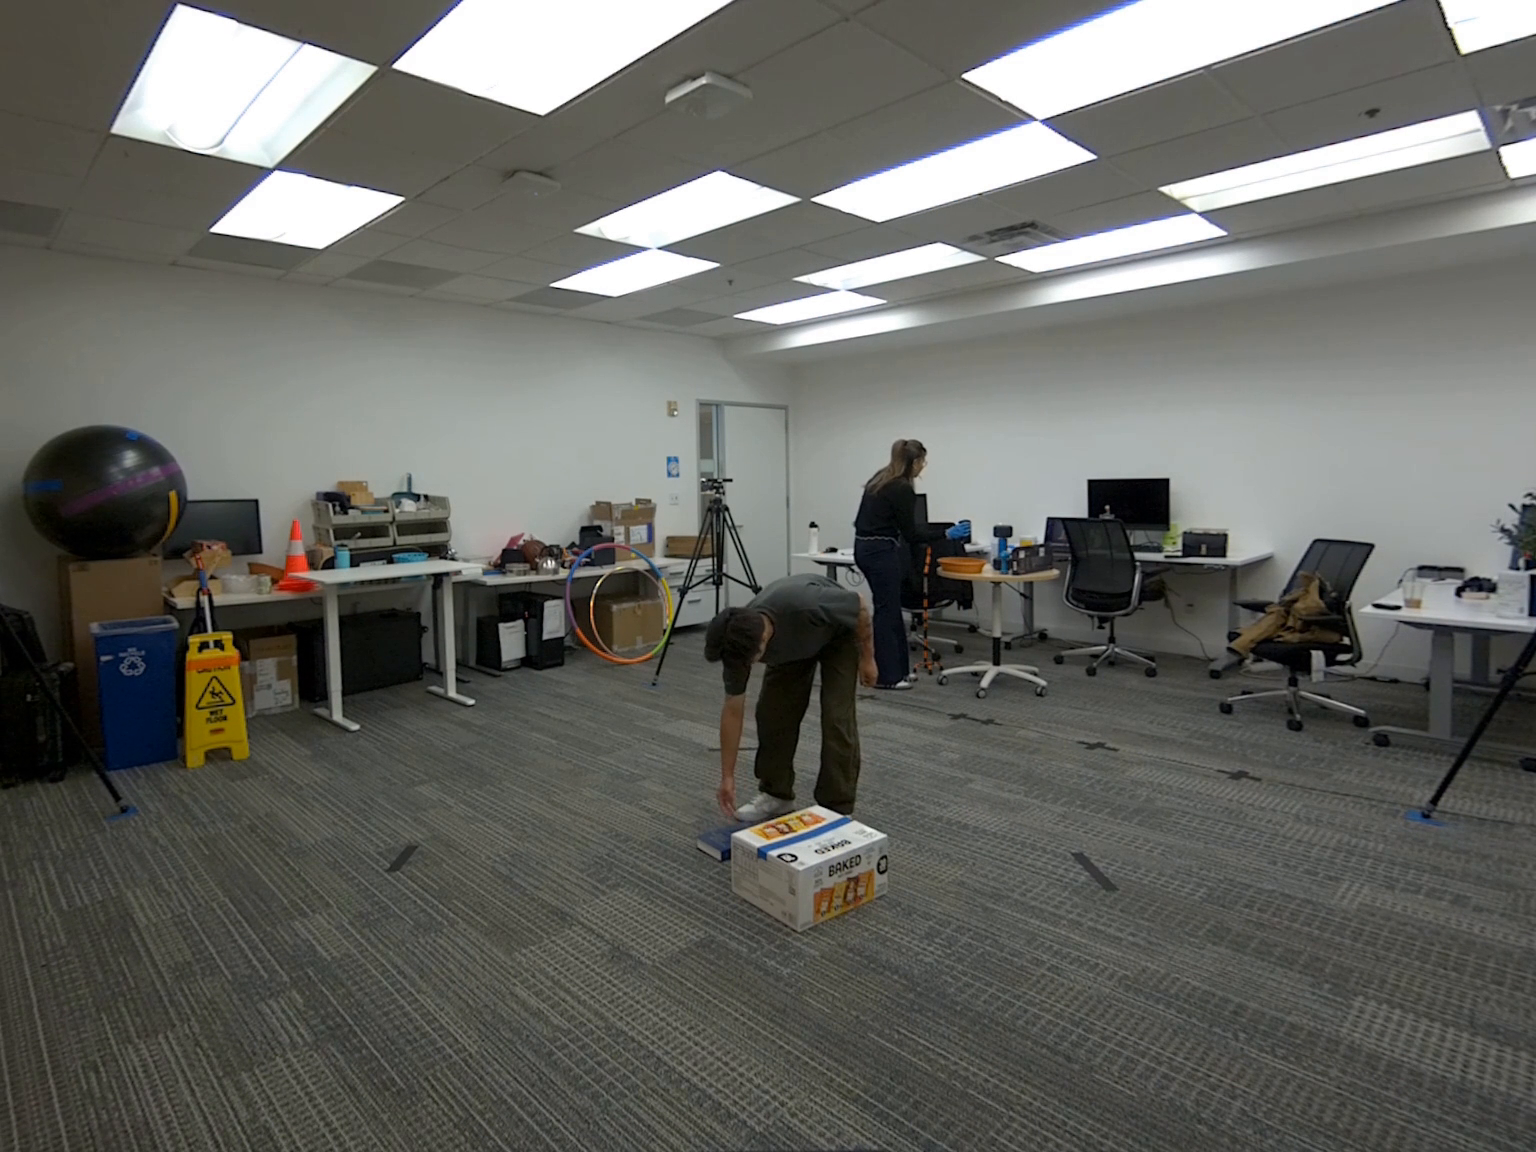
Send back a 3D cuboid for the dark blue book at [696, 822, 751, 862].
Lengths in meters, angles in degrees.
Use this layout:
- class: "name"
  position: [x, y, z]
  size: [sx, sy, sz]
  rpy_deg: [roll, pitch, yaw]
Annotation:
- class: "dark blue book"
  position: [-0.129, 1.007, 3.250]
  size: [0.239, 0.045, 0.168]
  rpy_deg: [-5, 8, -38]
